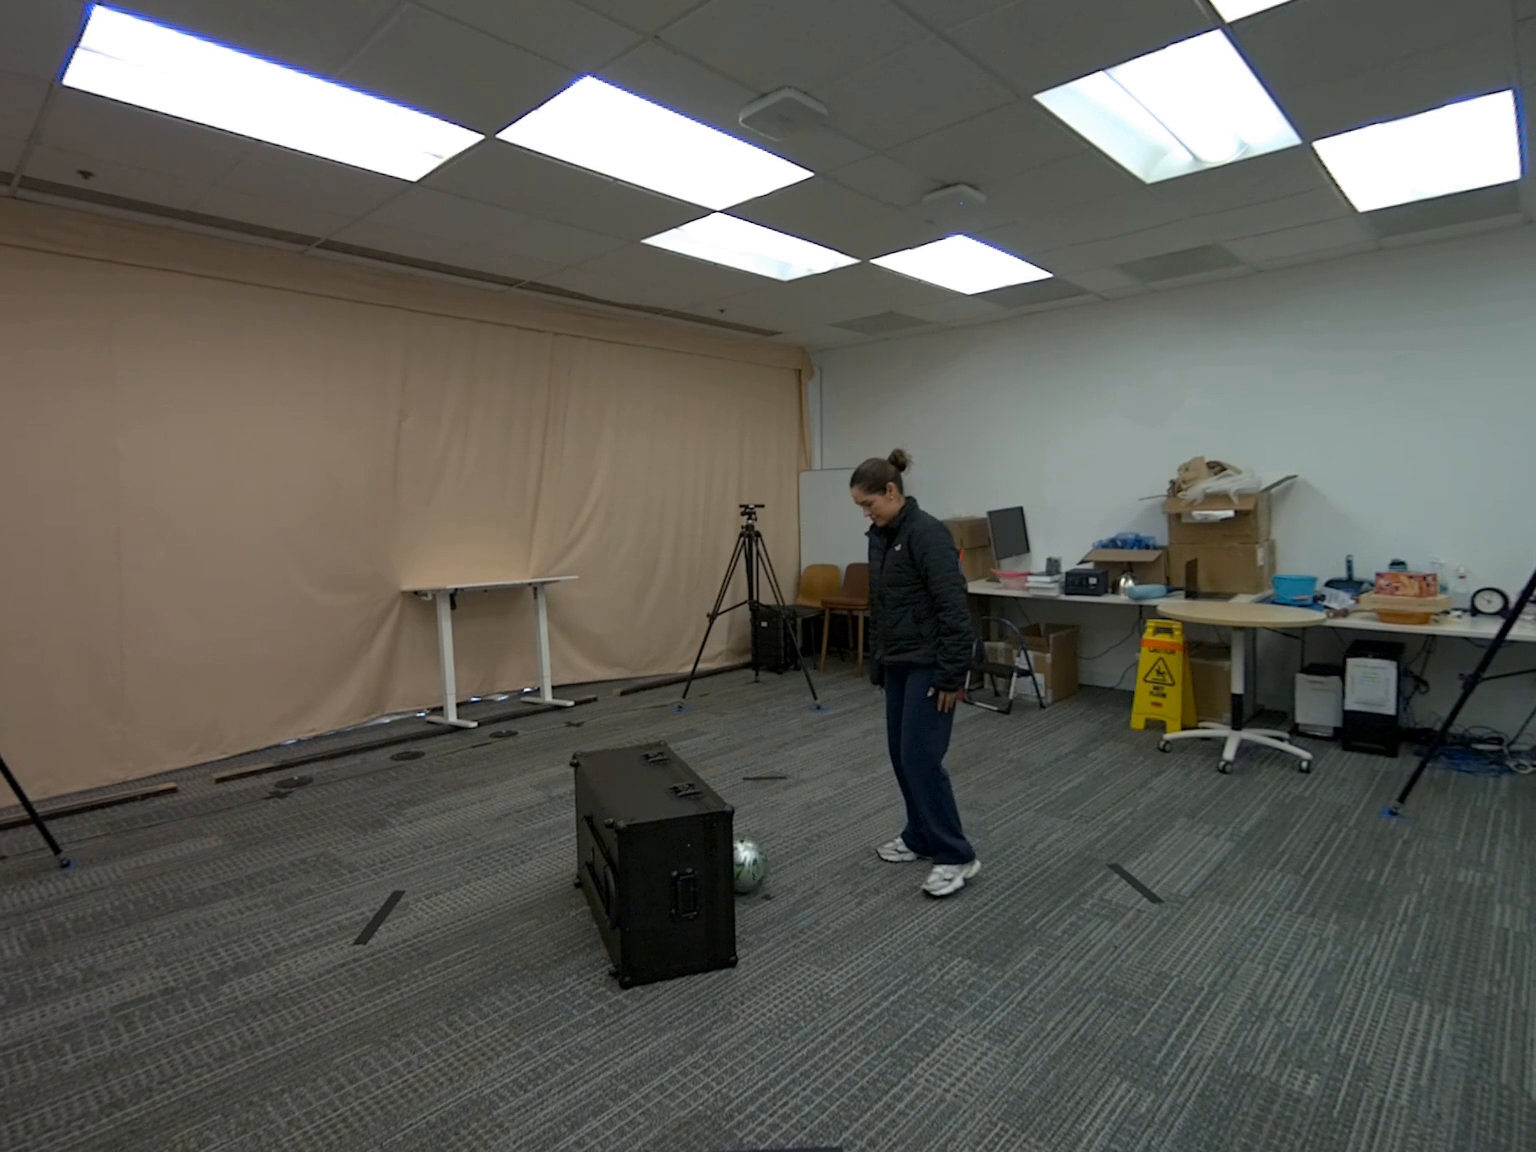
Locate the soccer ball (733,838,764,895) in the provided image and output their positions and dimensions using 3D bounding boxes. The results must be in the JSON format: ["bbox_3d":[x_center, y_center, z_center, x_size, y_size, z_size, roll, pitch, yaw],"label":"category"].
[{"bbox_3d":[-0.095,1.052,3.034,0.187,0.187,0.188,-1,4,-2],"label":"soccer ball"}]
